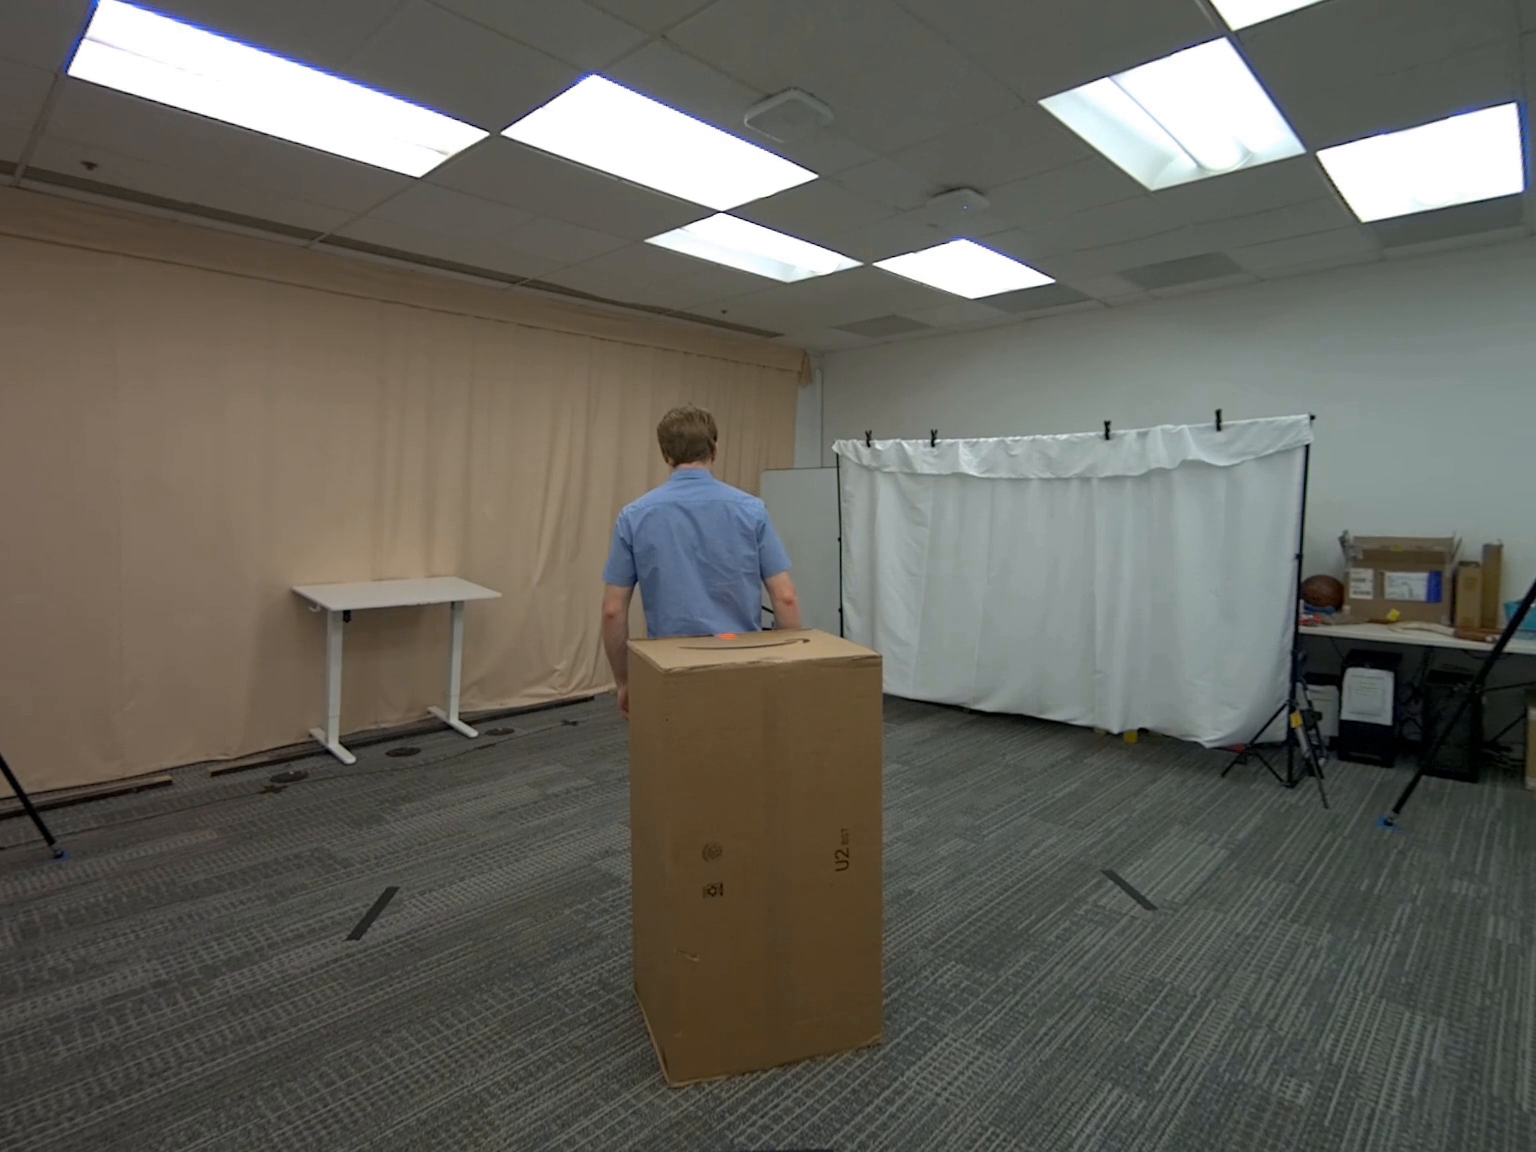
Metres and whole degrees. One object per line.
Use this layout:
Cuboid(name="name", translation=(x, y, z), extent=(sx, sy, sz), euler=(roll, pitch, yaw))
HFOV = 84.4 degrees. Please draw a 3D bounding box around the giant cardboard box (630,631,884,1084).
Cuboid(name="giant cardboard box", translation=(-0.043, 0.702, 2.258), extent=(0.573, 1.024, 0.457), euler=(-2, 5, -19))
